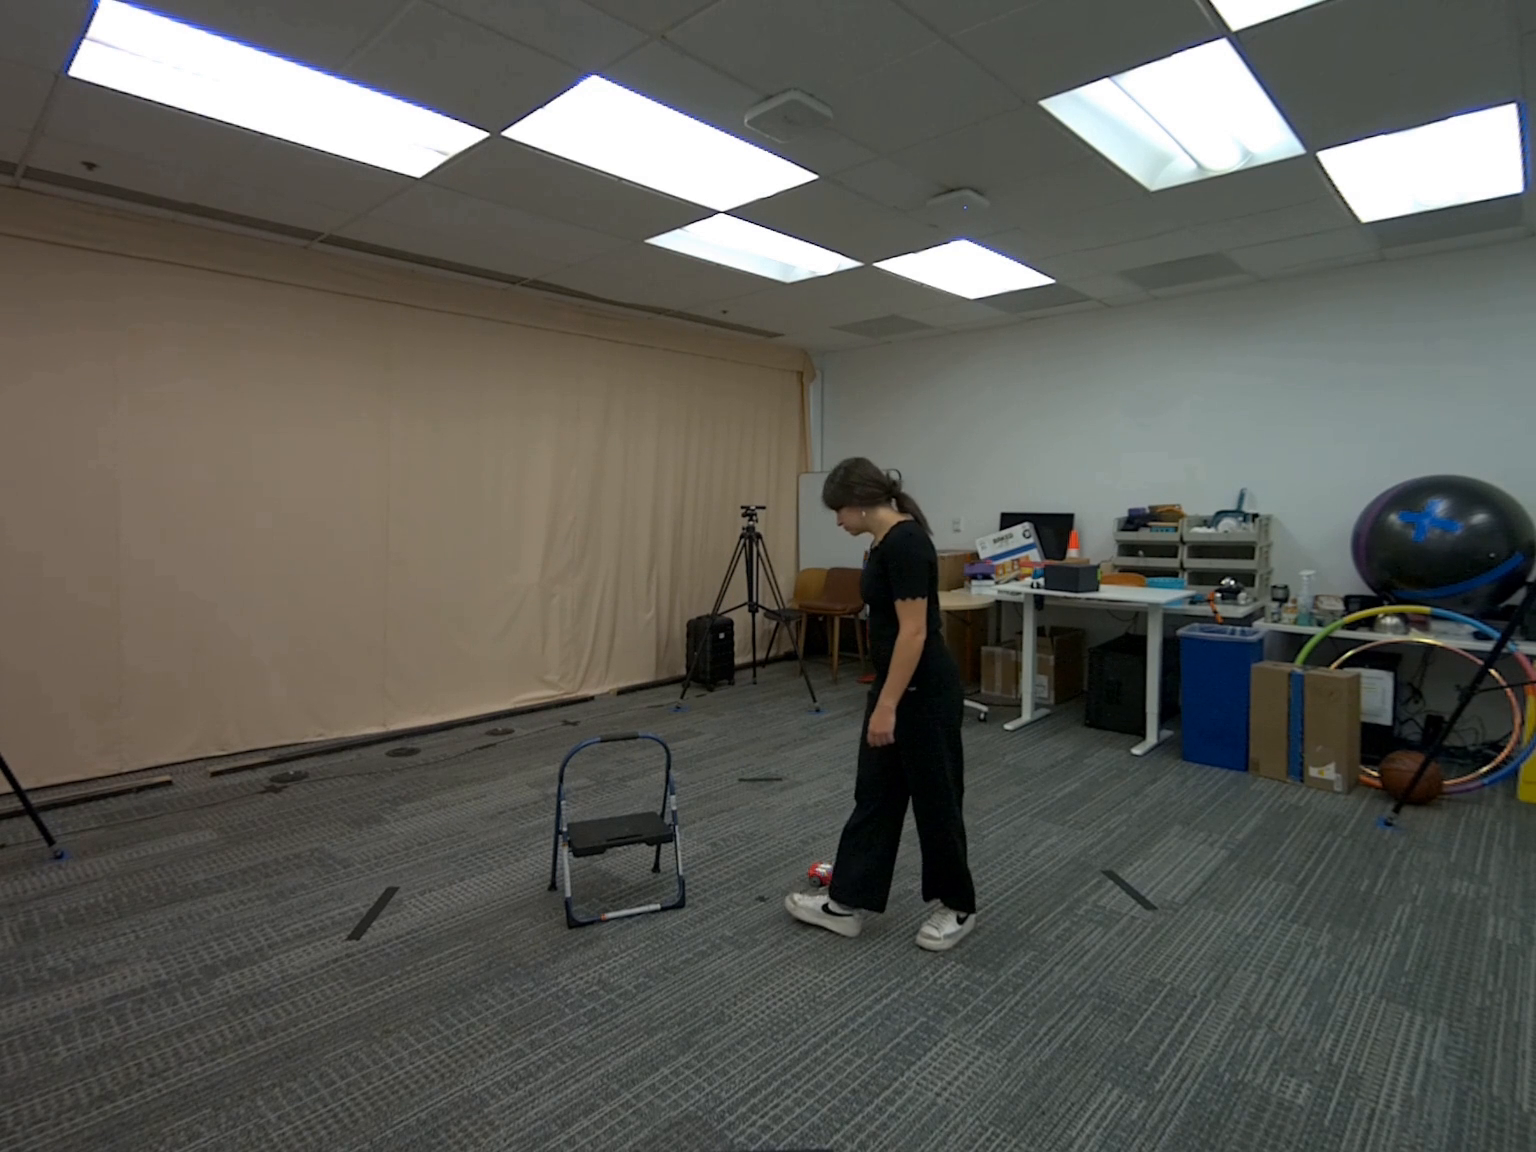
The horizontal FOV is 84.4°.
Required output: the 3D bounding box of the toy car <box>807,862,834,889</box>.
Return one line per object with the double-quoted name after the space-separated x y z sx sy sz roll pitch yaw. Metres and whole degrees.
0.285 1.105 3.085 0.259 0.083 0.127 -8 -2 19 "toy car"
